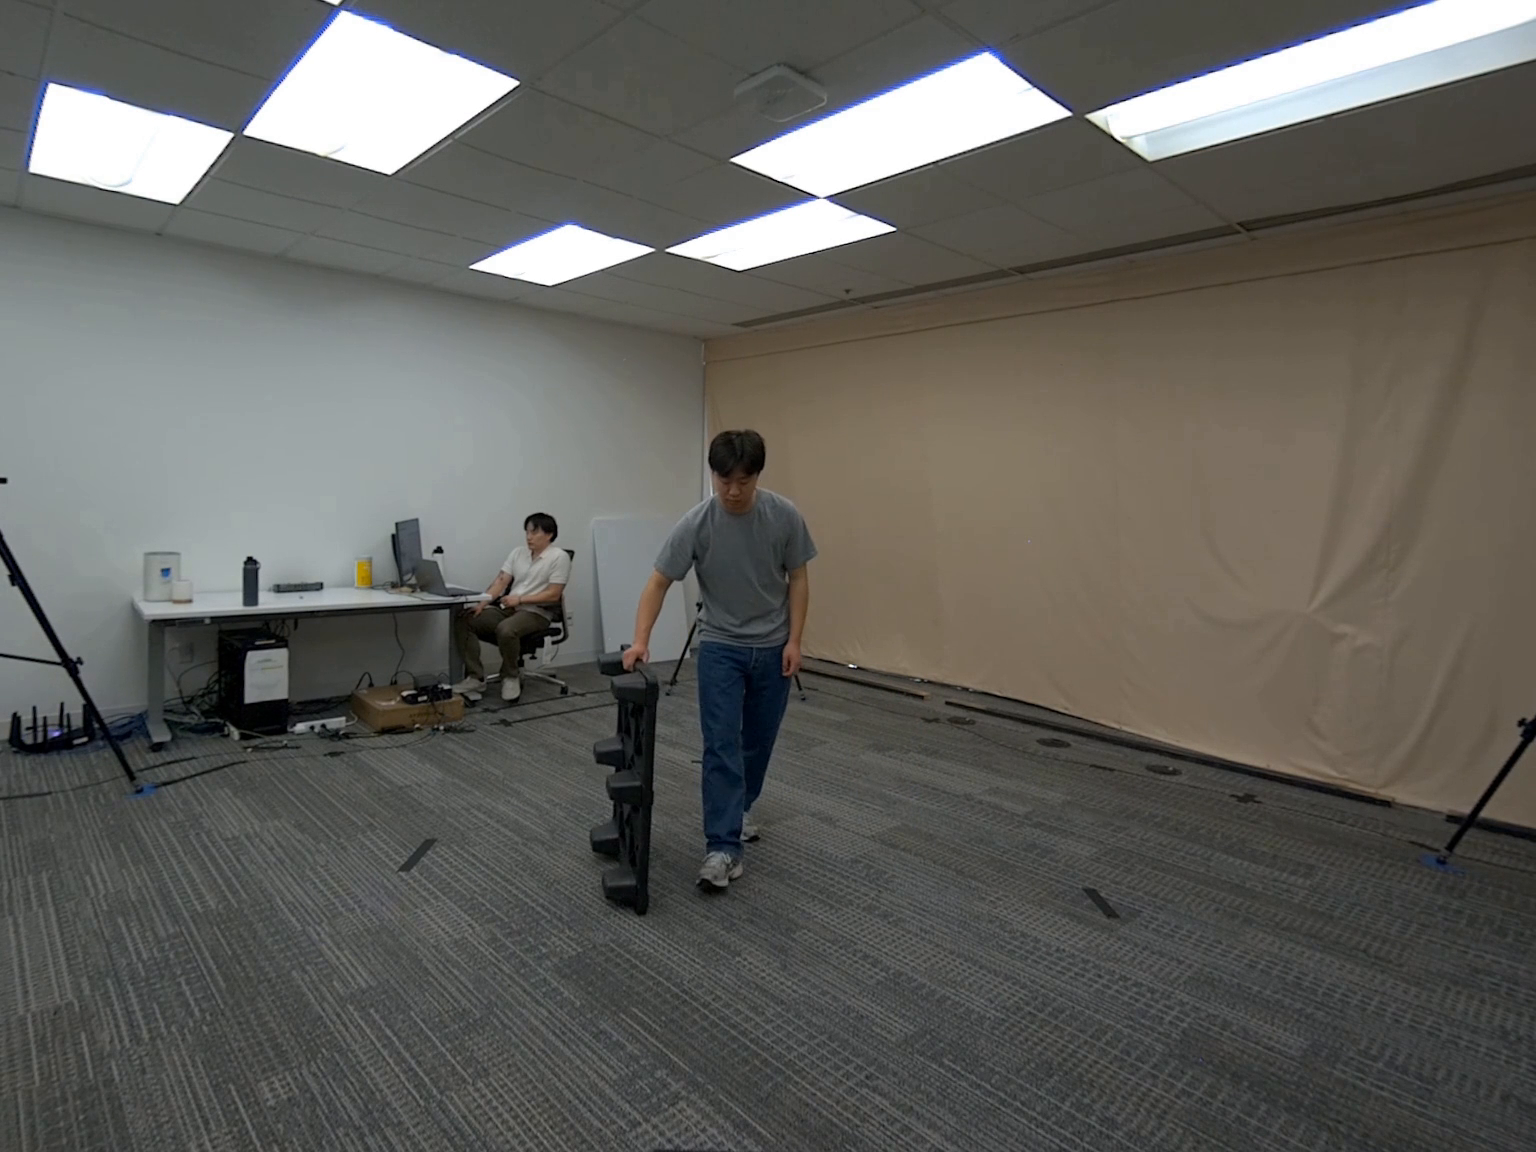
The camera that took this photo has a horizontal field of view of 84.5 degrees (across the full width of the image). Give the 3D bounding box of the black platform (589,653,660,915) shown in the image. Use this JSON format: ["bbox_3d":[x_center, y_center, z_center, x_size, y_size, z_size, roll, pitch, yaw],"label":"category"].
[{"bbox_3d":[-0.542,0.696,3.036,0.141,0.804,0.615,2,4,-18],"label":"black platform"}]
